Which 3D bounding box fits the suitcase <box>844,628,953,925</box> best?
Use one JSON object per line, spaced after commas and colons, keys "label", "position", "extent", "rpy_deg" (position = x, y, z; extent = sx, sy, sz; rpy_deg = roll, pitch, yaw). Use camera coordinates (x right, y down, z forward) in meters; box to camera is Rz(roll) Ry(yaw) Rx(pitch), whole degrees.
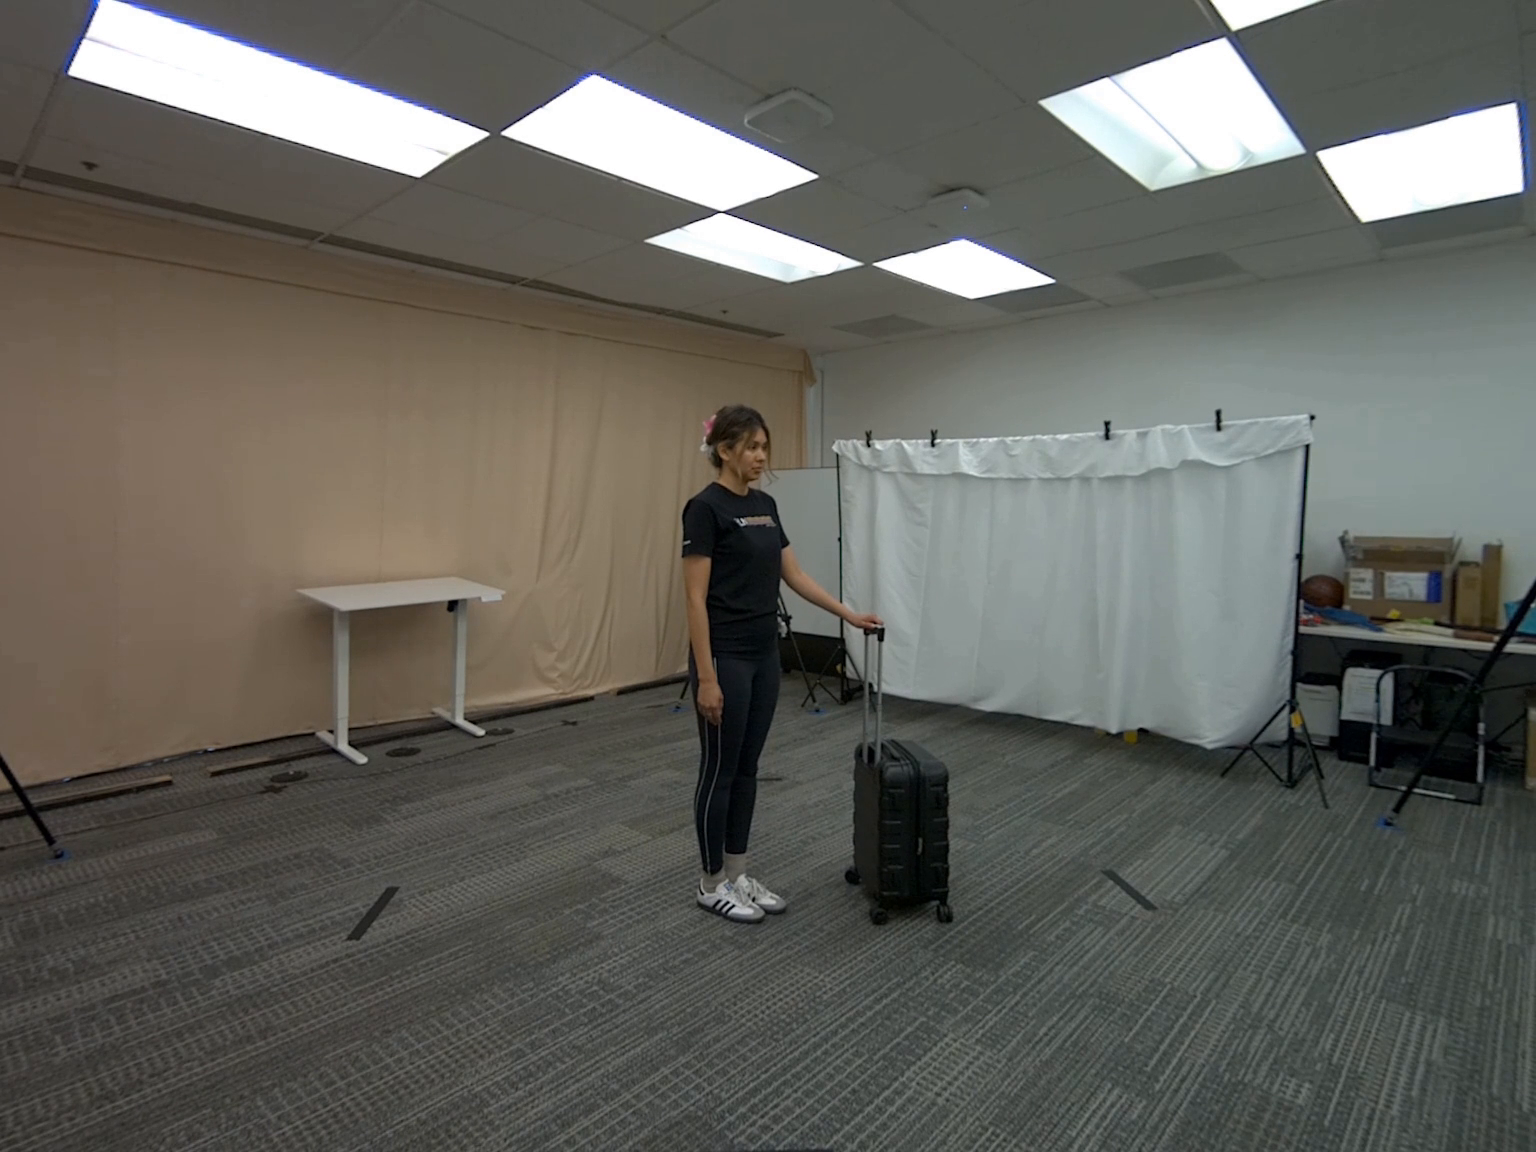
{"label": "suitcase", "position": [0.473, 0.669, 2.945], "extent": [0.255, 0.977, 0.387], "rpy_deg": [3, 3, -8]}
